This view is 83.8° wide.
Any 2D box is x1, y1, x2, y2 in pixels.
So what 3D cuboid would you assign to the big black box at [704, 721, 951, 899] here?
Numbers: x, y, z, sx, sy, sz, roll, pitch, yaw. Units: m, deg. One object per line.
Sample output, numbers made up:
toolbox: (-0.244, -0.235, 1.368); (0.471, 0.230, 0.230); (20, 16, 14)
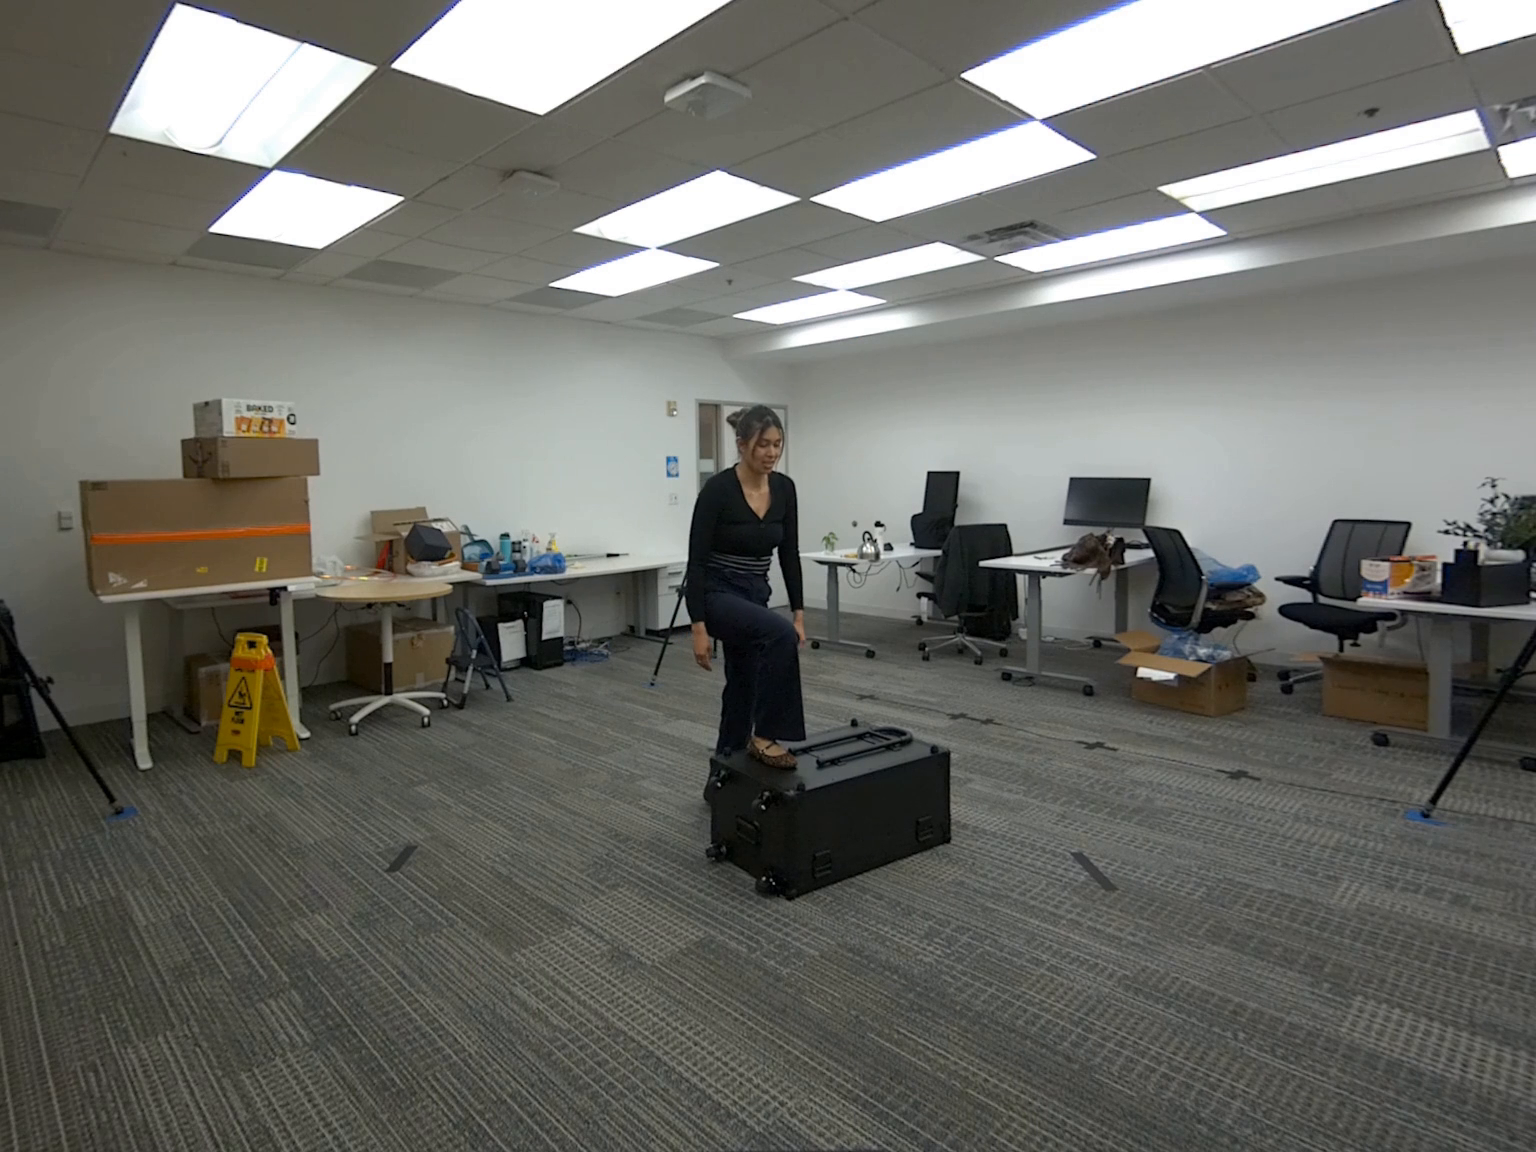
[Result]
big black box: (0.264, 0.853, 3.239); (0.840, 0.394, 0.537); (-5, 7, -35)
